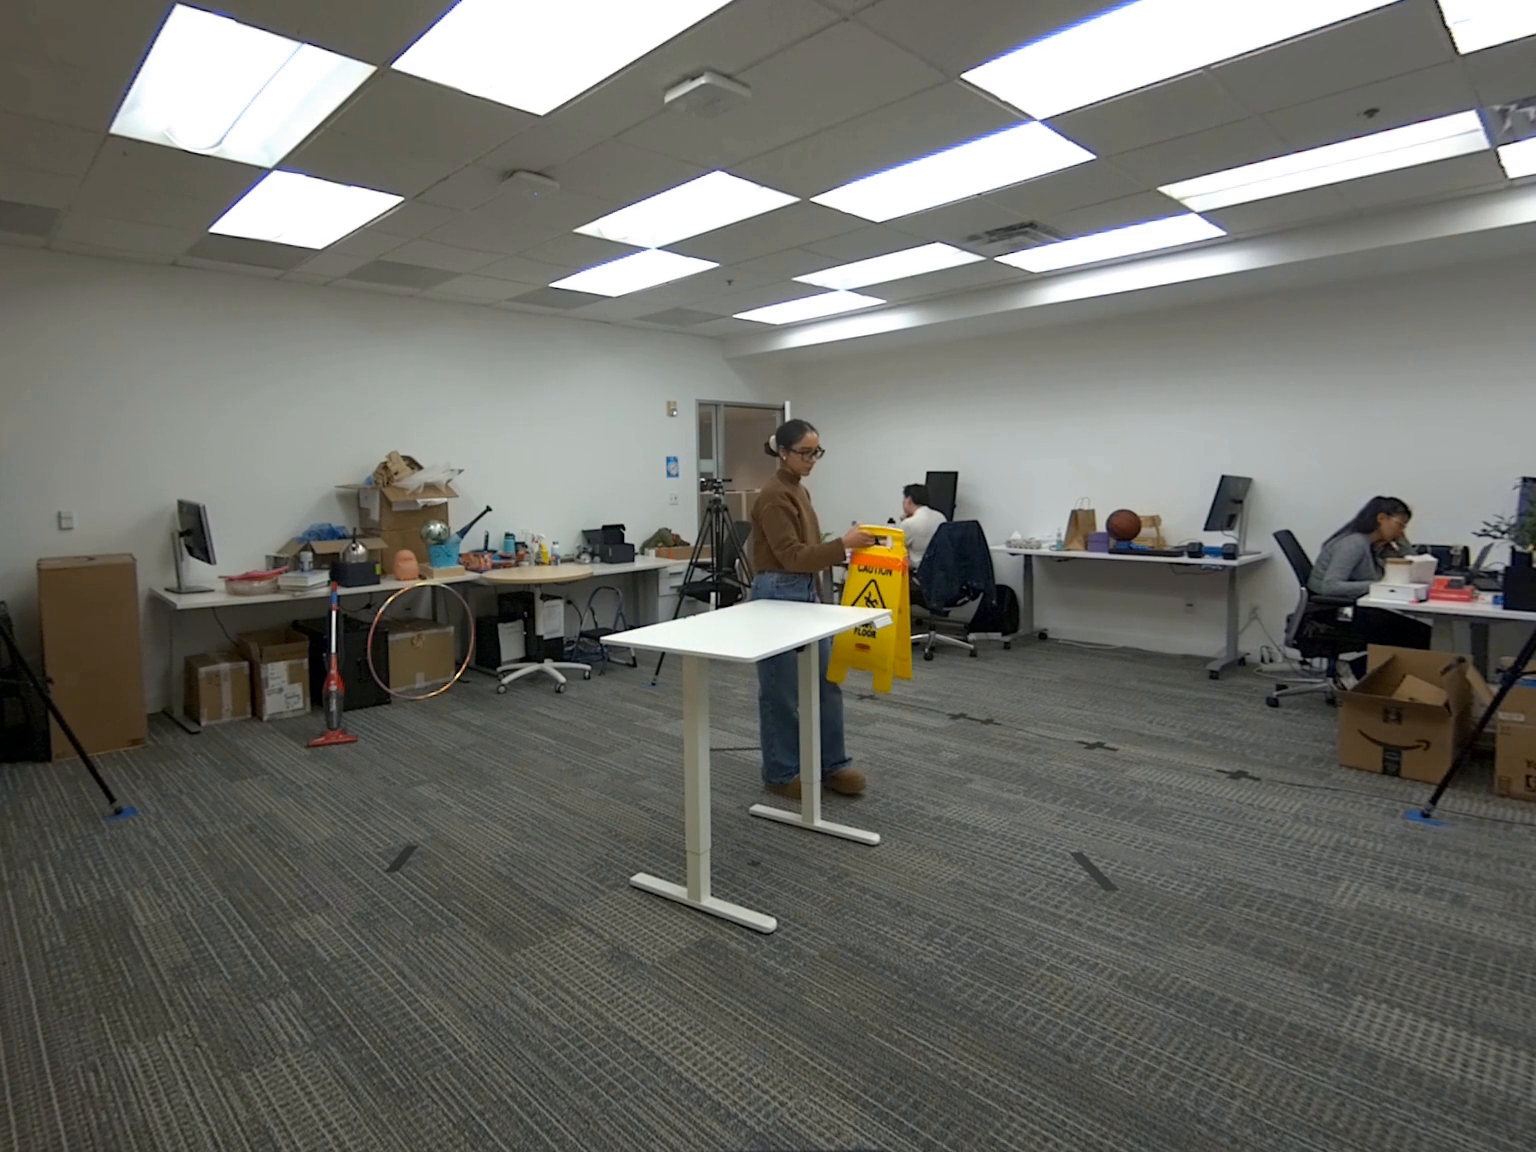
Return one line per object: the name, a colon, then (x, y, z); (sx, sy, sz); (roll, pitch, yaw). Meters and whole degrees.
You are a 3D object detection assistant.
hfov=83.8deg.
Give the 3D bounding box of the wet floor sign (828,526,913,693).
wet floor sign: (0.450, 0.118, 3.565); (0.290, 0.643, 0.283); (7, 7, 29)
